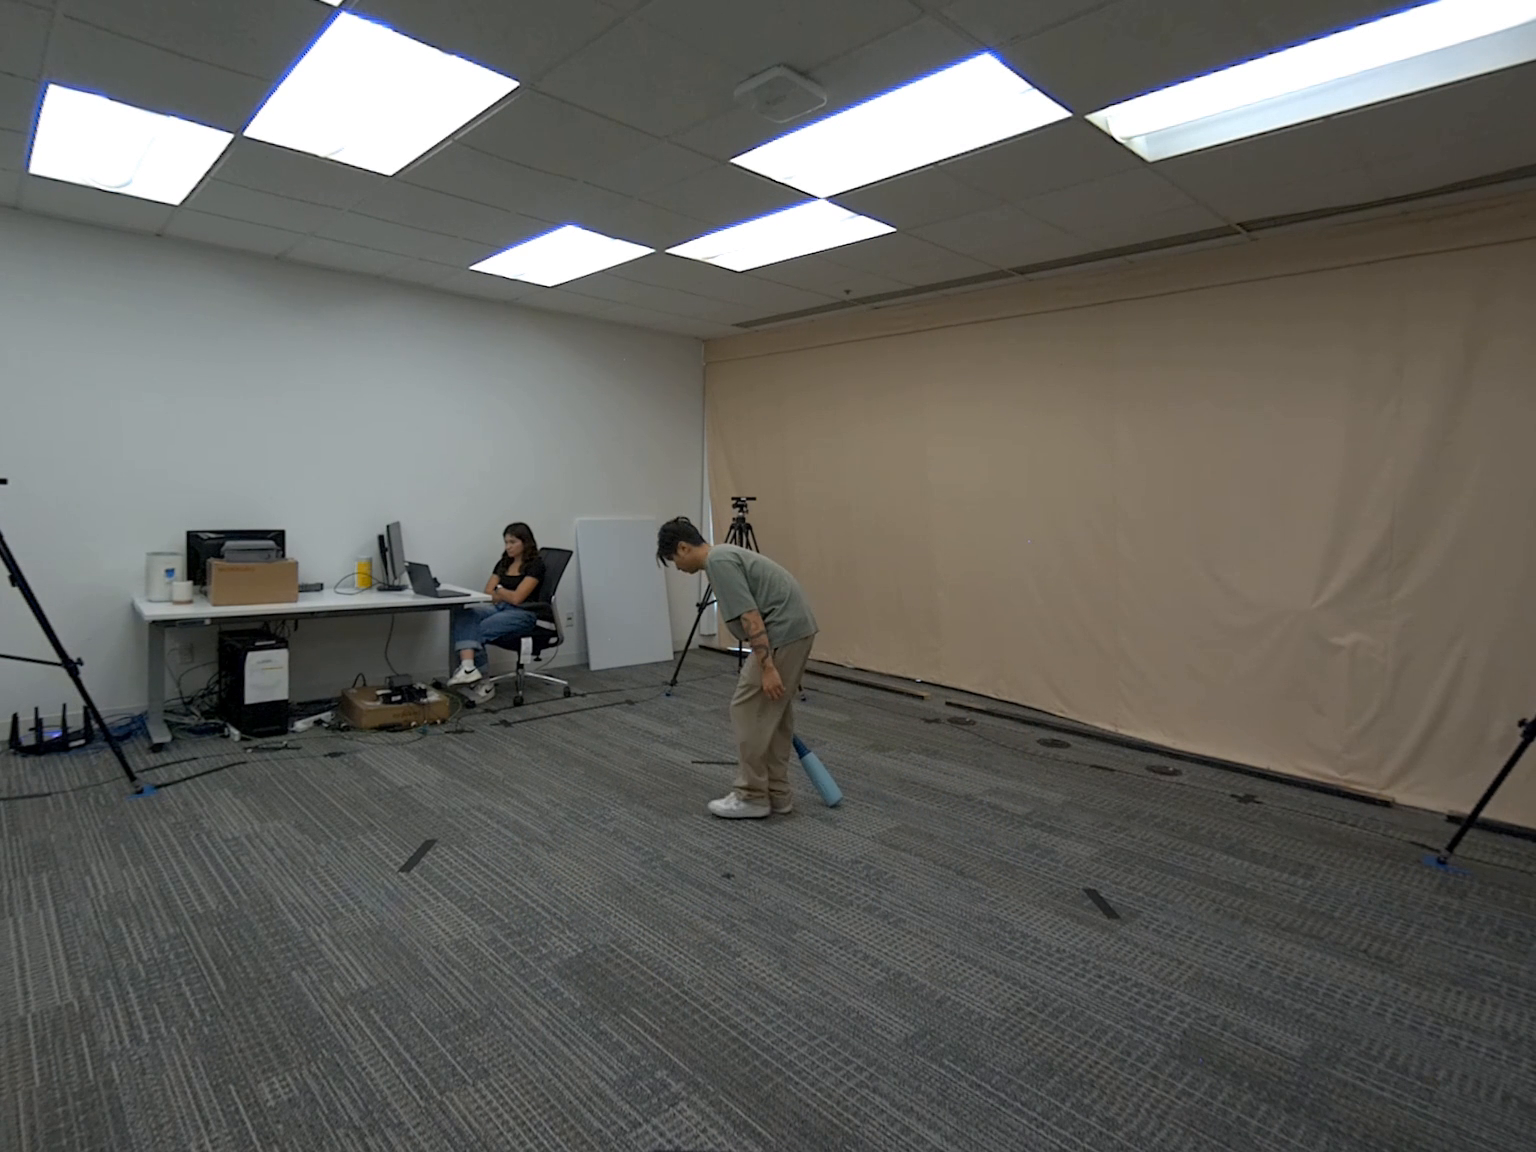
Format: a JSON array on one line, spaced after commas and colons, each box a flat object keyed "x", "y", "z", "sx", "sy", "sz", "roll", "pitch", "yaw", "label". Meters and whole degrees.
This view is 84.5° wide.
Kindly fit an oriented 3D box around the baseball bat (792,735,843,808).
[{"x": 0.151, "y": 0.823, "z": 3.935, "sx": 0.089, "sy": 0.553, "sz": 0.087, "roll": -31, "pitch": -19, "yaw": -12, "label": "baseball bat"}]
